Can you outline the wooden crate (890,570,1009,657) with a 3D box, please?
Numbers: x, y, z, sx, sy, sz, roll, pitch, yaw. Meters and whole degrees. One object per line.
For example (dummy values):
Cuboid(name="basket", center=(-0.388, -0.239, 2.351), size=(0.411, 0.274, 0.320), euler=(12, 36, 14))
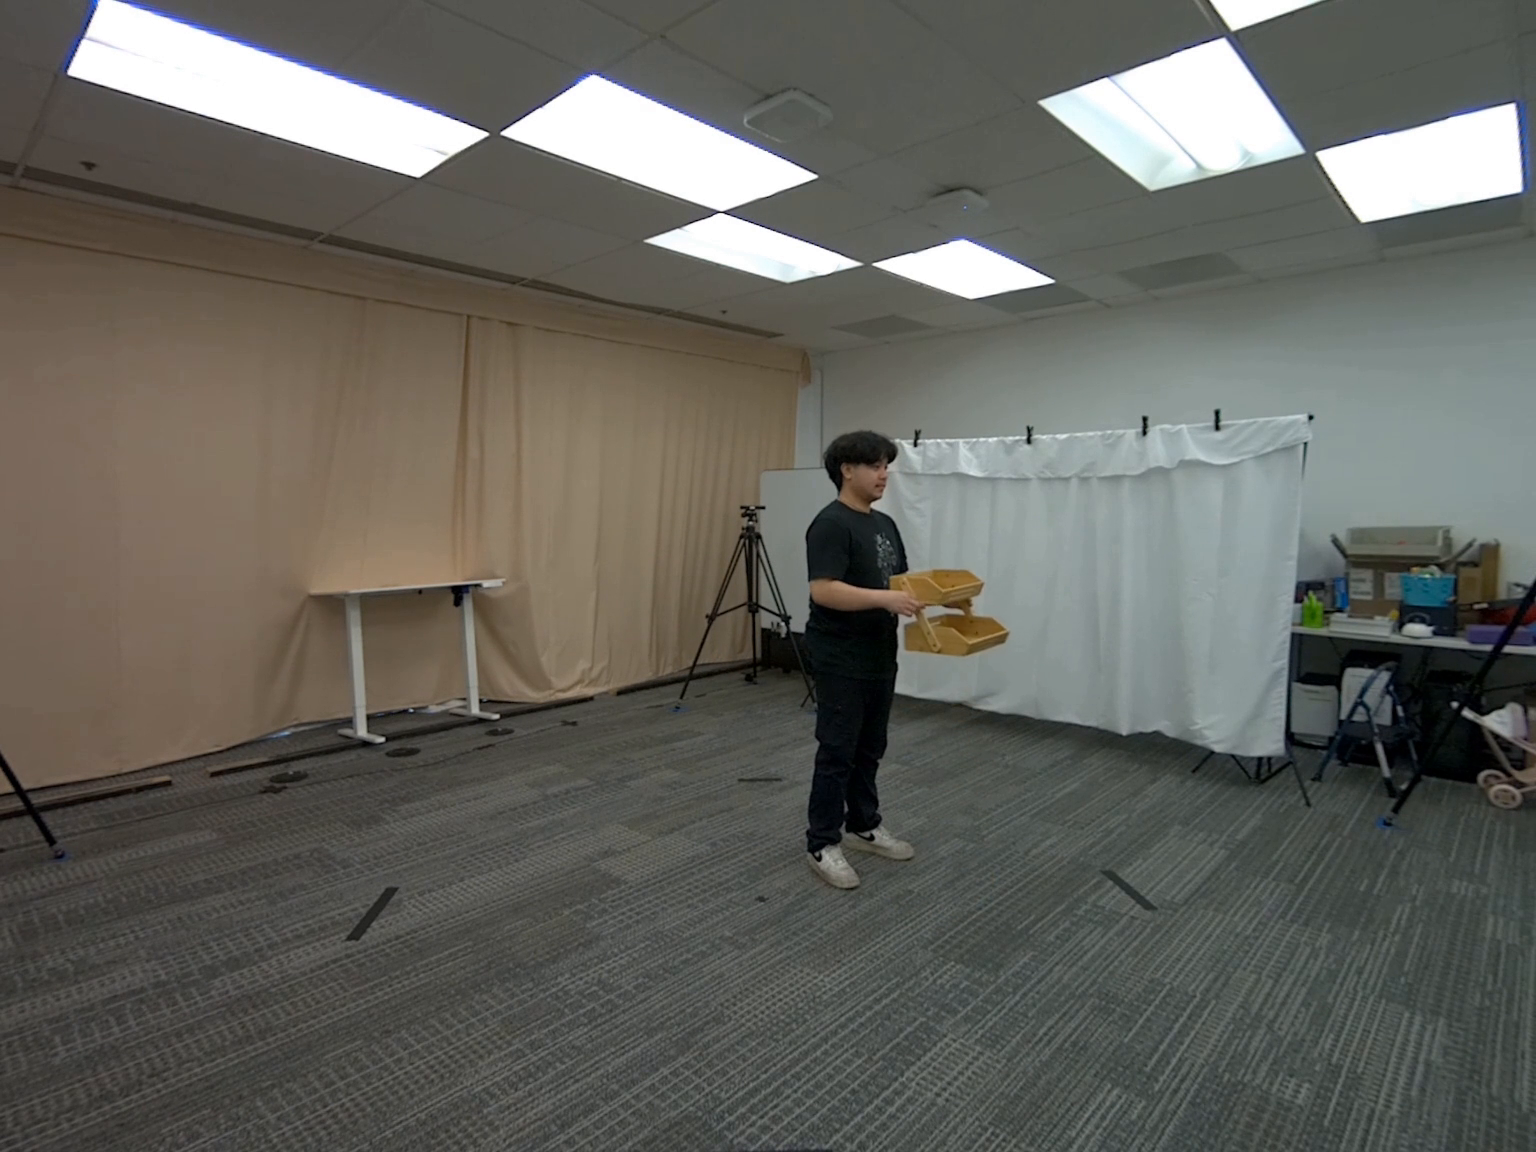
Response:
Cuboid(name="wooden crate", center=(0.664, 0.121, 2.999), size=(0.312, 0.273, 0.315), euler=(2, 5, 42))
